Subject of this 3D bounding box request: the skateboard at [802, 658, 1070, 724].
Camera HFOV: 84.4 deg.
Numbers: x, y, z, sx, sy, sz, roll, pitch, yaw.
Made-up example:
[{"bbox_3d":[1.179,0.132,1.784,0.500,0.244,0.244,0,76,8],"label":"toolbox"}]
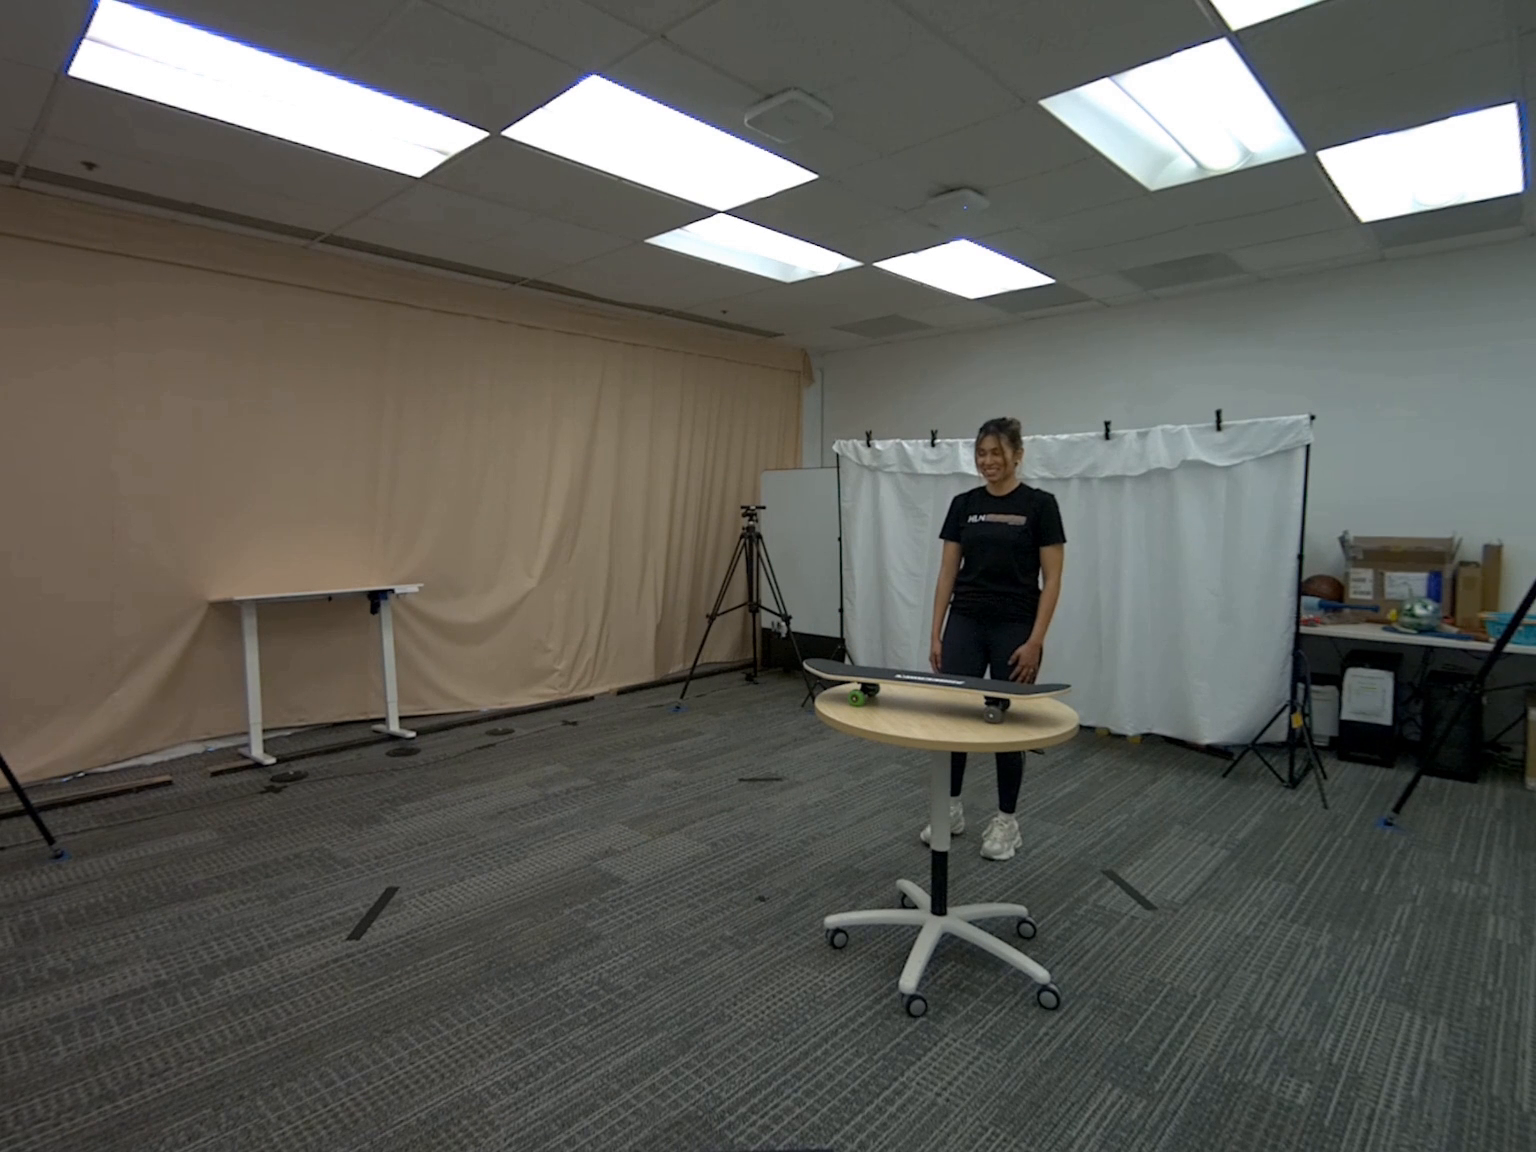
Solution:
[{"bbox_3d":[0.496,0.349,2.525,0.807,0.110,0.189,2,5,27],"label":"skateboard"}]
